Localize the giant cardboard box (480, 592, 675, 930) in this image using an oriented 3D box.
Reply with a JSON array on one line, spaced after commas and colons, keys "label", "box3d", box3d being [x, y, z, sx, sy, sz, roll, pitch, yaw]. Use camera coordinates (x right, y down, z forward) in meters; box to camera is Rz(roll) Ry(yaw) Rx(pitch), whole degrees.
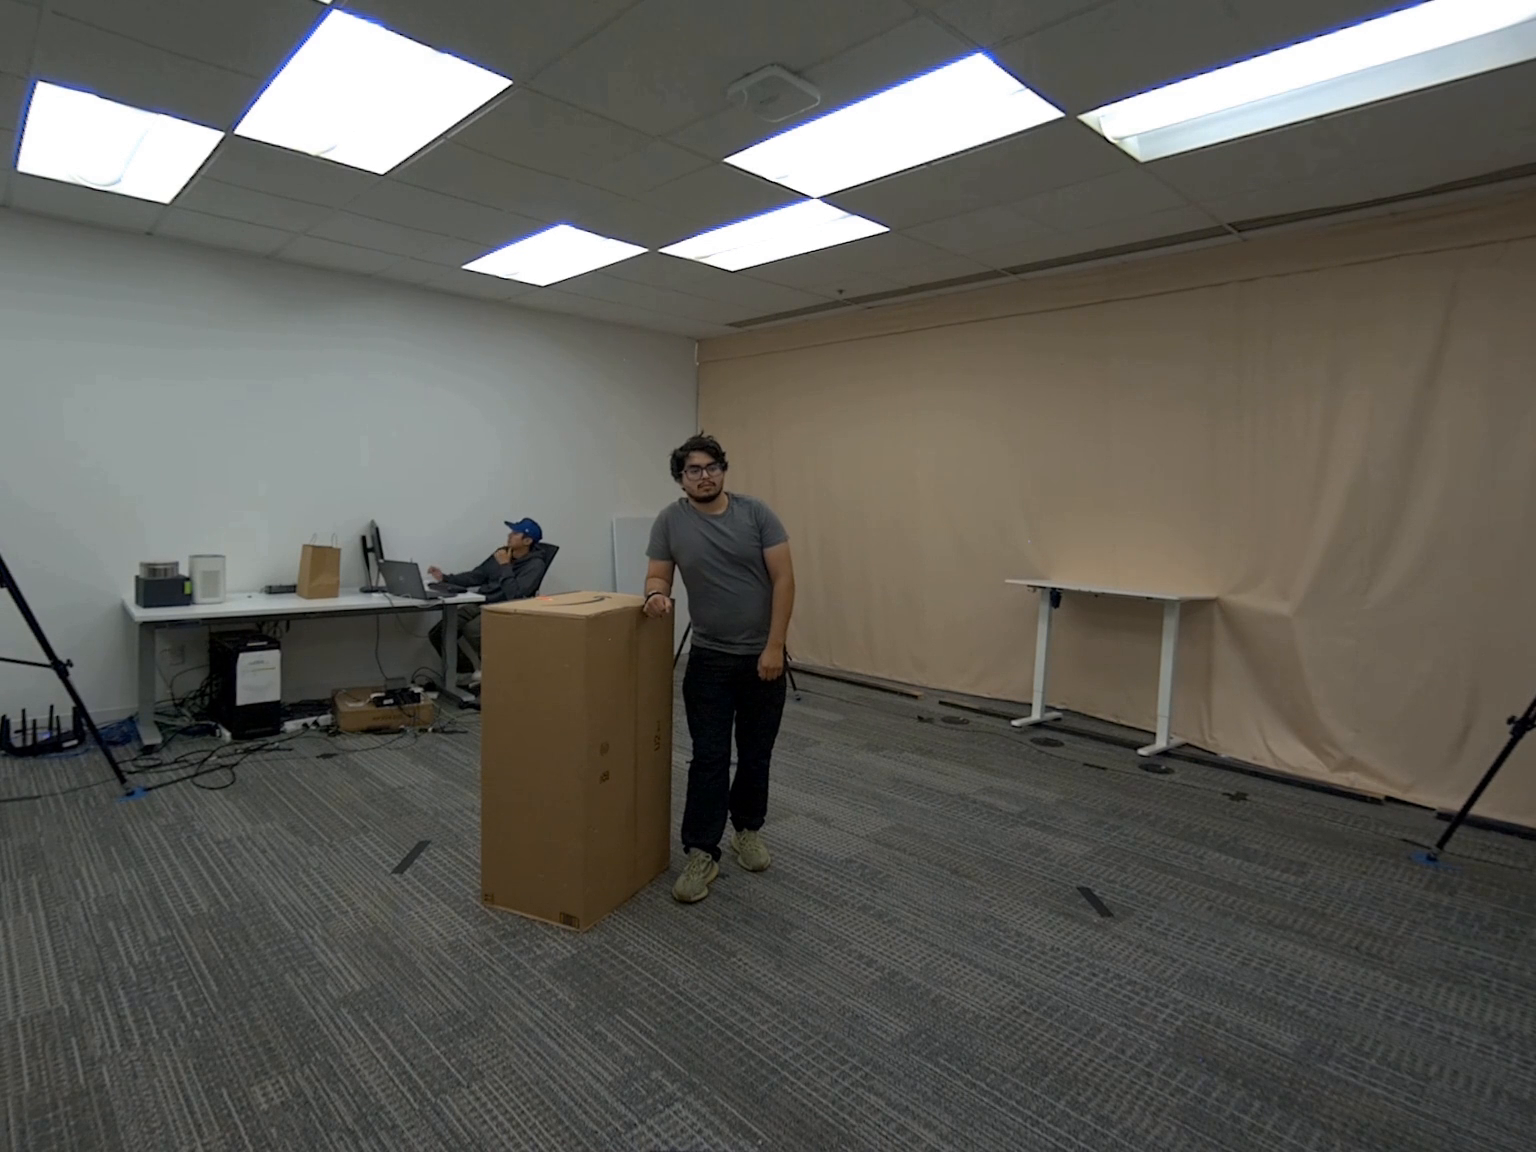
[{"label": "giant cardboard box", "box3d": [-0.667, 0.599, 2.986, 0.435, 1.023, 0.567, 3, 4, 26]}]
